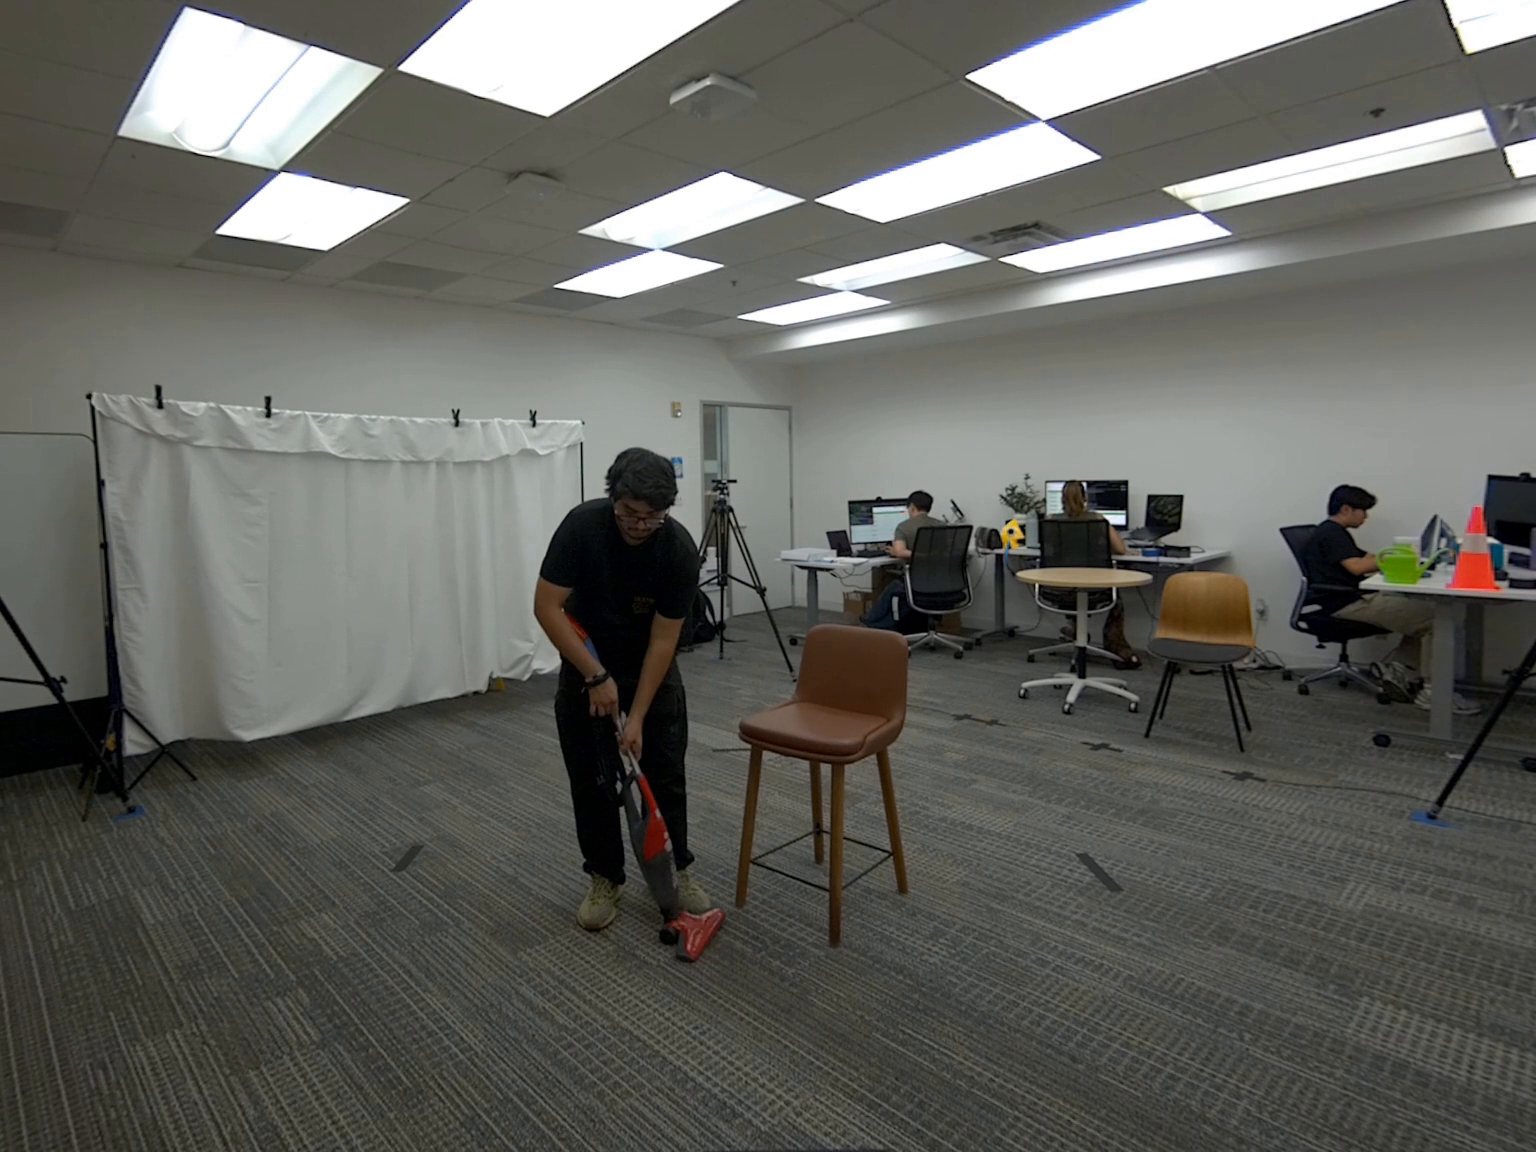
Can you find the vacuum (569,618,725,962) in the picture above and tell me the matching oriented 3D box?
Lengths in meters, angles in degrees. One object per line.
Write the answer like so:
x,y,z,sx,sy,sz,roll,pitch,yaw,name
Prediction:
-0.420,0.625,2.622,0.146,1.051,0.249,-21,-2,24,vacuum
